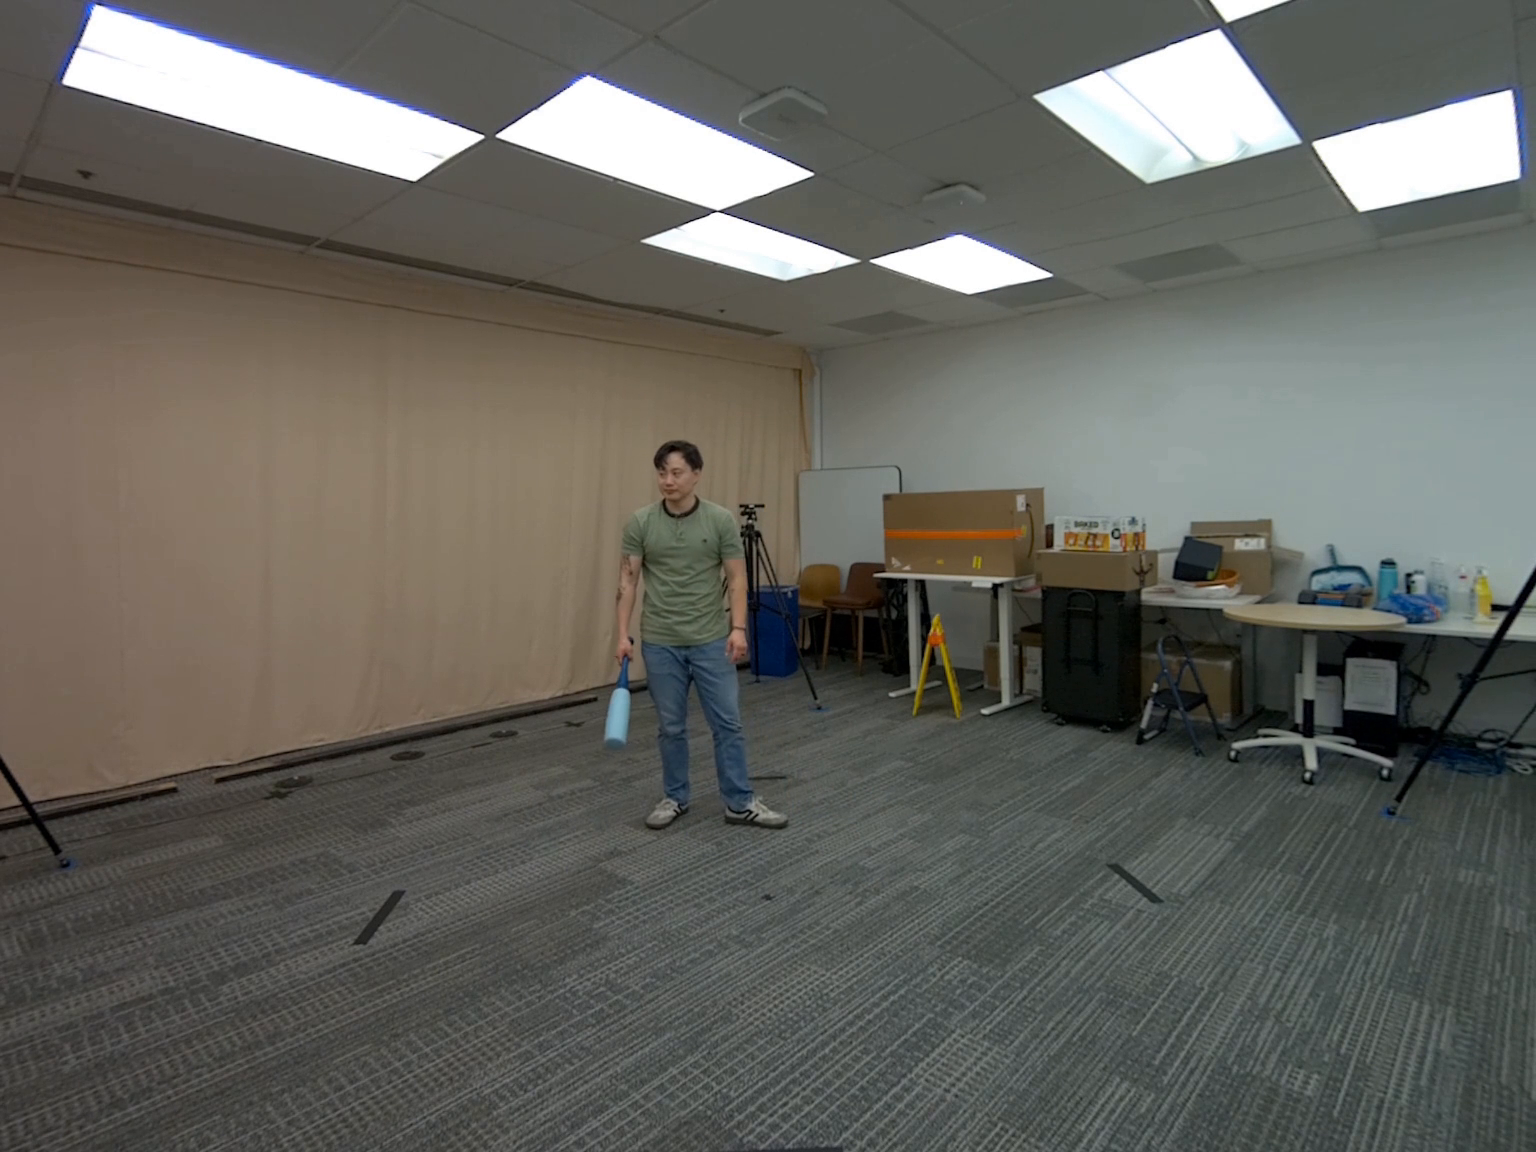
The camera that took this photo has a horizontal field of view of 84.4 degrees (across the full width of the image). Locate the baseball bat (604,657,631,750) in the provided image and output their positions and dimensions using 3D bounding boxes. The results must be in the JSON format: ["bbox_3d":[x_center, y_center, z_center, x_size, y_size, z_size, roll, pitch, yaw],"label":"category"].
[{"bbox_3d":[-0.573,0.465,3.457,0.089,0.087,0.551,-1,44,4],"label":"baseball bat"}]
